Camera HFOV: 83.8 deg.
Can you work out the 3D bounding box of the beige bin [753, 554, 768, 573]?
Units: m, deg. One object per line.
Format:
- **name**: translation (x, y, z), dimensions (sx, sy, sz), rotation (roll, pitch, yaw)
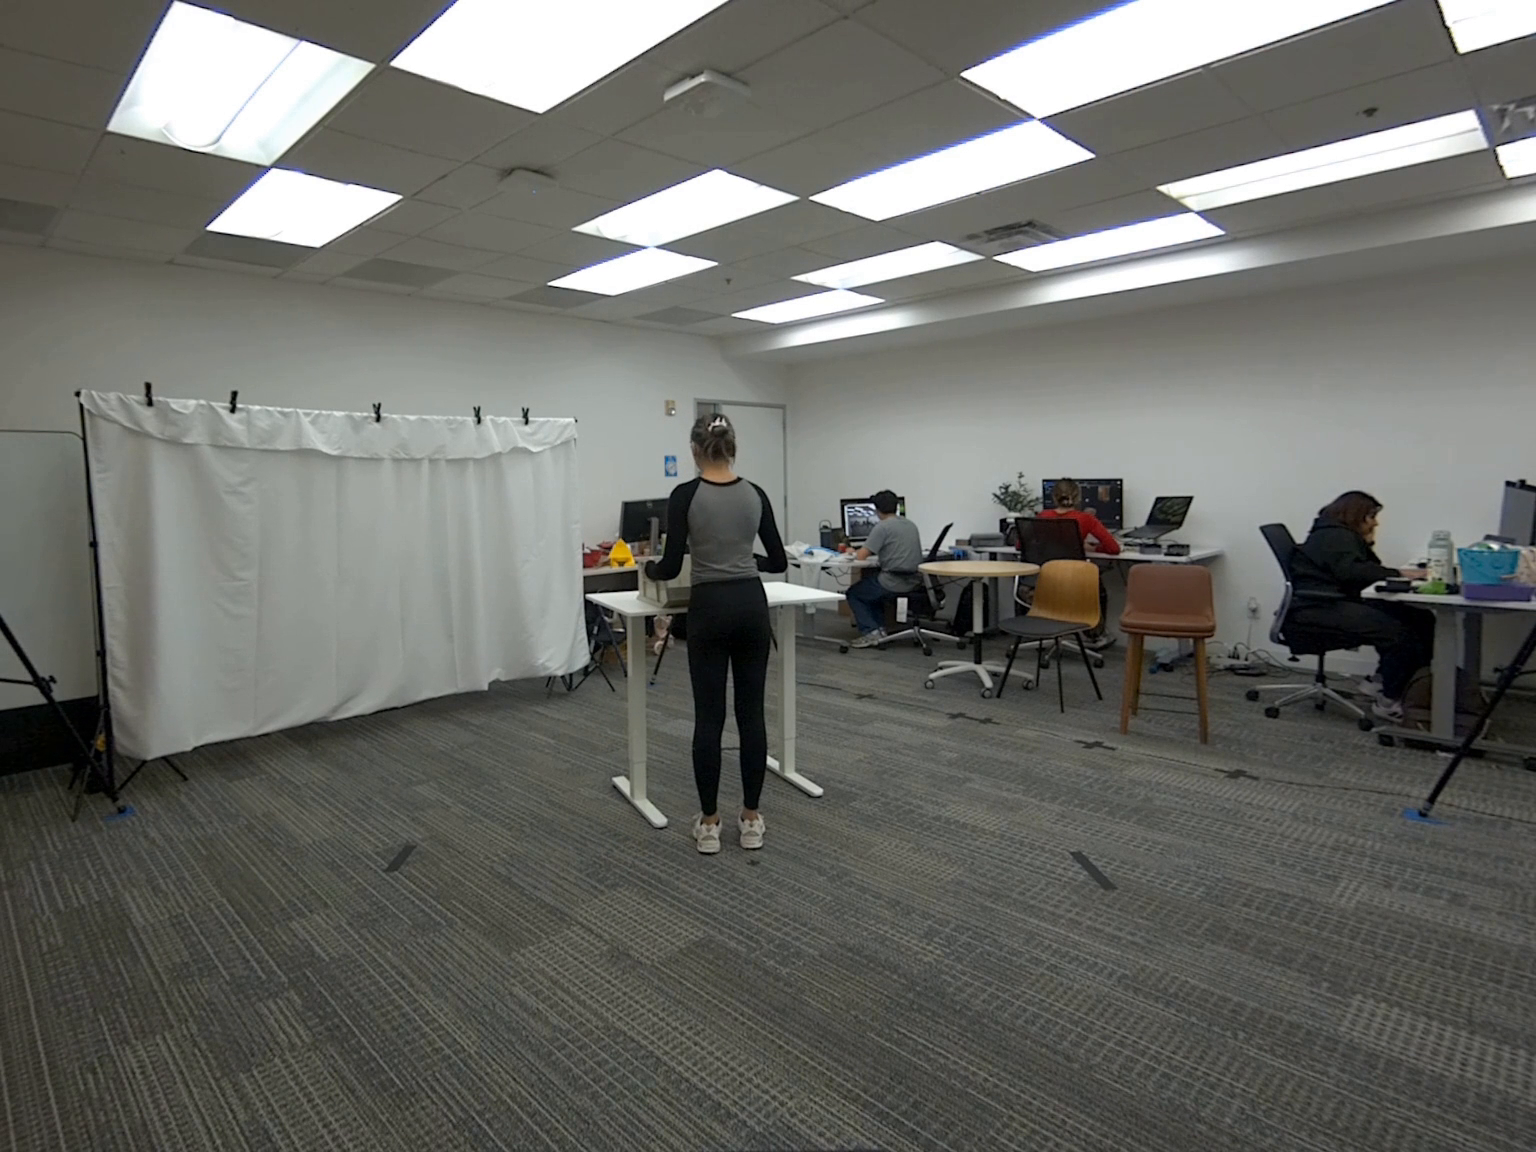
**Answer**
- **beige bin**: translation (-0.303, 0.018, 3.601), dimensions (0.413, 0.188, 0.386), rotation (-4, 4, -26)
